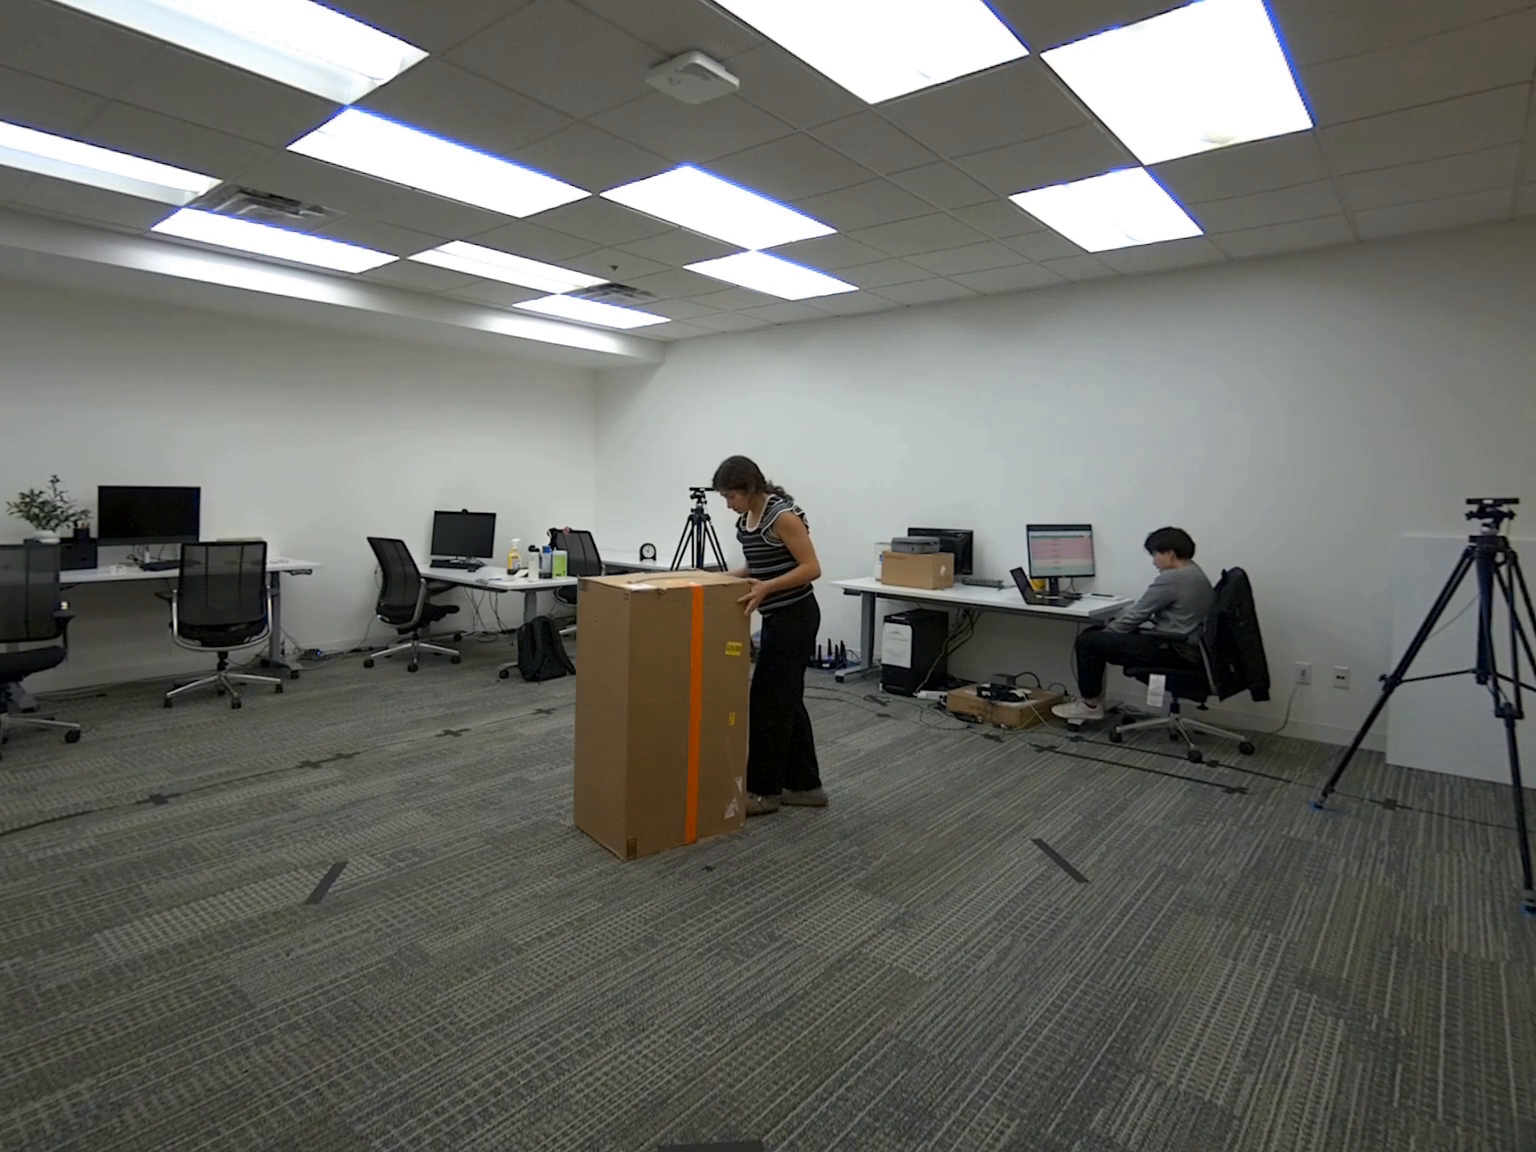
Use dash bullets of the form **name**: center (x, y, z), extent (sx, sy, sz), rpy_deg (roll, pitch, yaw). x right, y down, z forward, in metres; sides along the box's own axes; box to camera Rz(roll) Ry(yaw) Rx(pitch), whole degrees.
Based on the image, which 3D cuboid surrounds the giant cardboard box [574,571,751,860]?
- **giant cardboard box**: center (-0.443, 0.519, 3.458), extent (0.560, 1.022, 0.441), rpy_deg (-2, 5, -38)
